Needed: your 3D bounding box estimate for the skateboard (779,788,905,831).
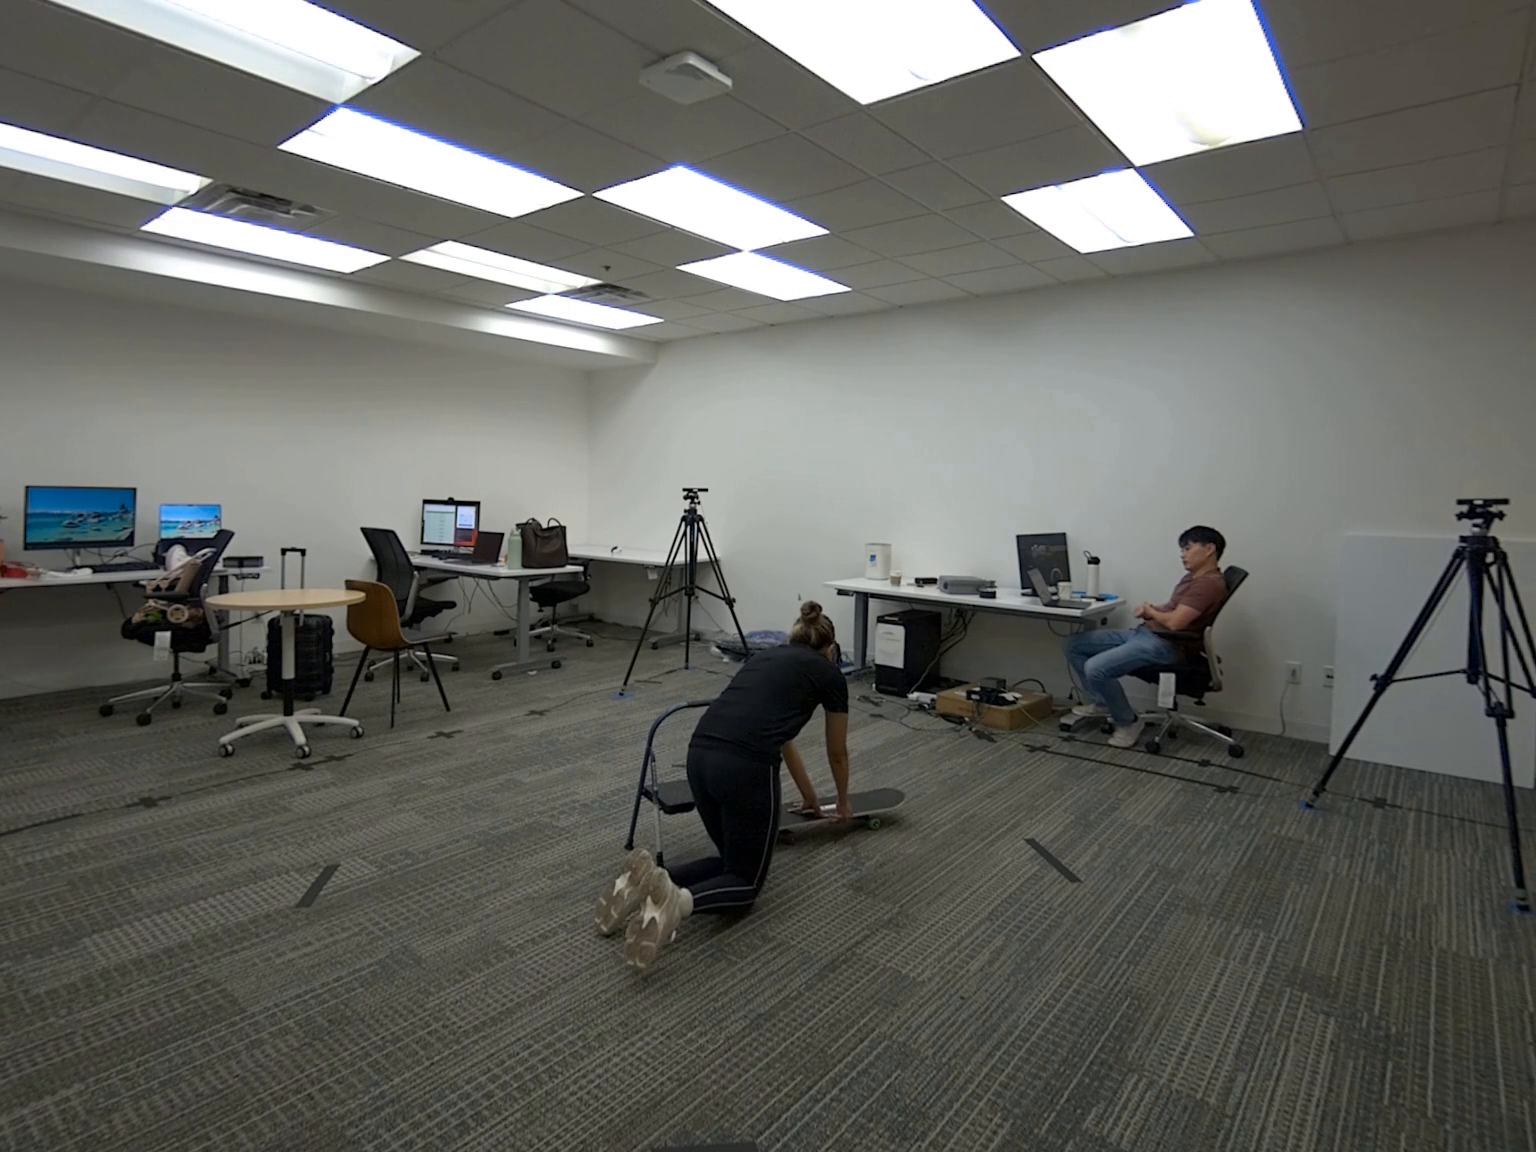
[{"bbox_3d":[0.222,0.990,3.510,0.768,0.109,0.199,-2,9,-24],"label":"skateboard"}]
